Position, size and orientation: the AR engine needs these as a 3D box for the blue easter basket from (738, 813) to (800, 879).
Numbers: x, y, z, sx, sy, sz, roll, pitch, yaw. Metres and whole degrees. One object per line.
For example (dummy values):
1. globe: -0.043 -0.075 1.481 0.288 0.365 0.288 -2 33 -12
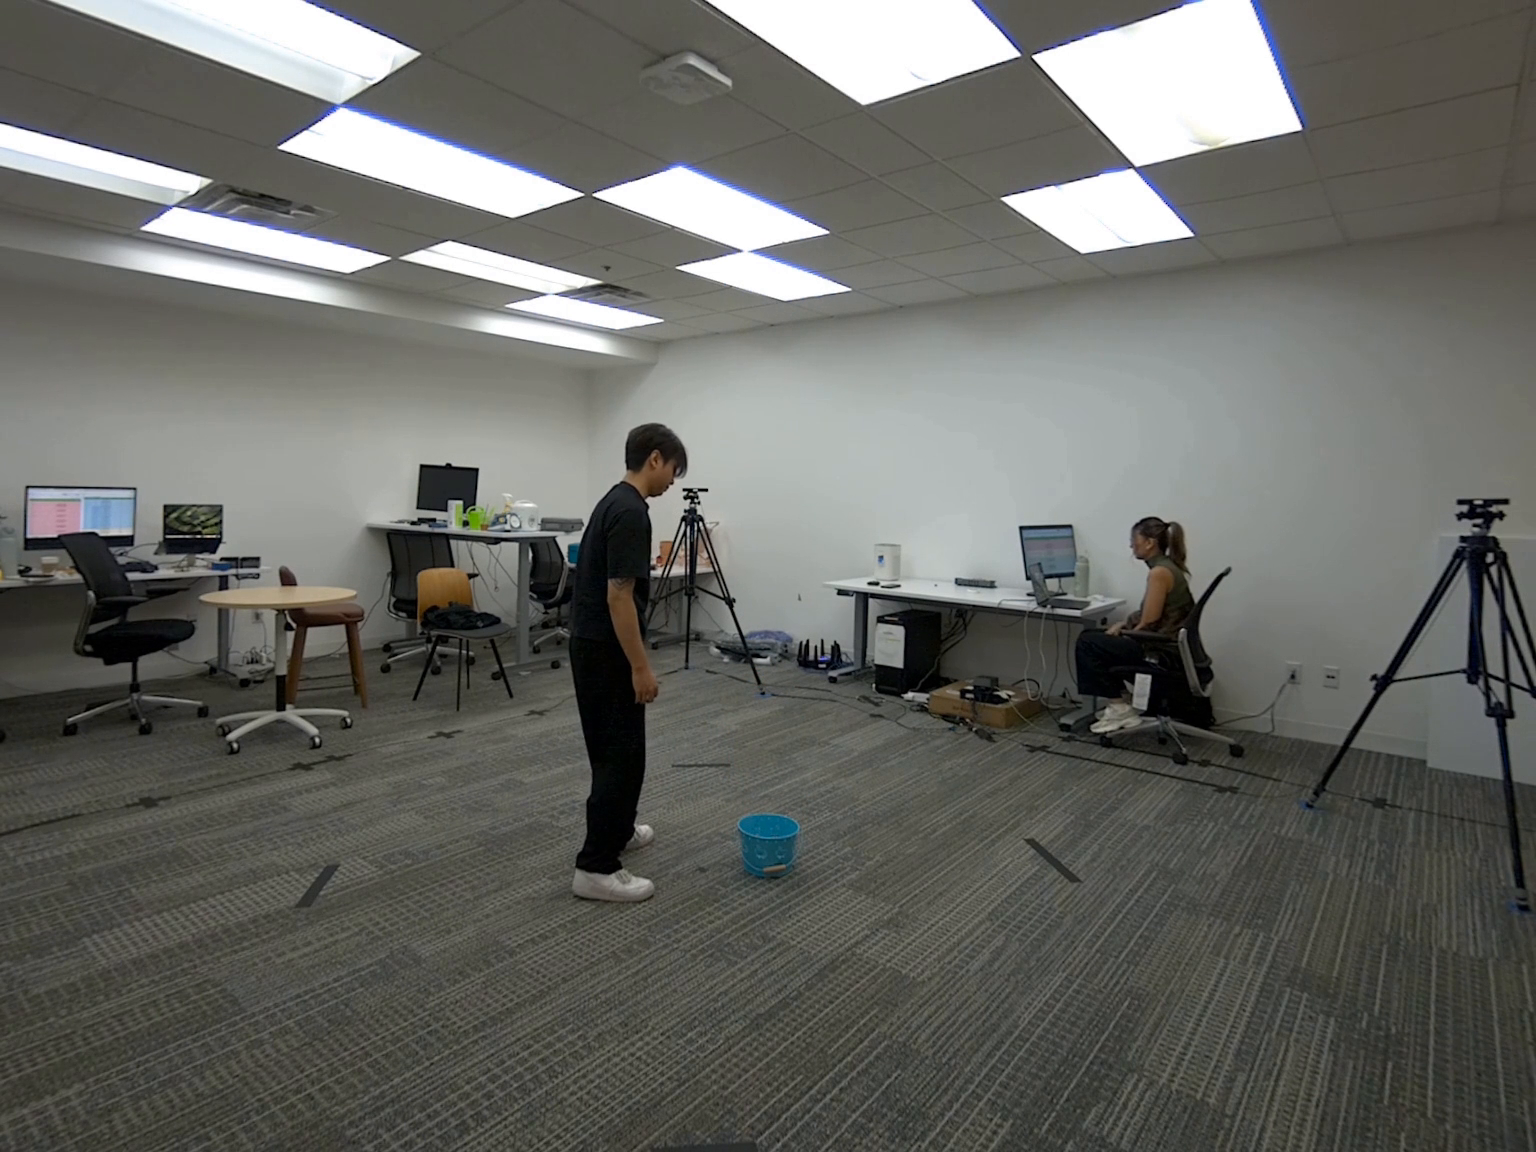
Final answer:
1. blue easter basket: -0.011 0.991 3.143 0.243 0.155 0.245 1 5 -2
